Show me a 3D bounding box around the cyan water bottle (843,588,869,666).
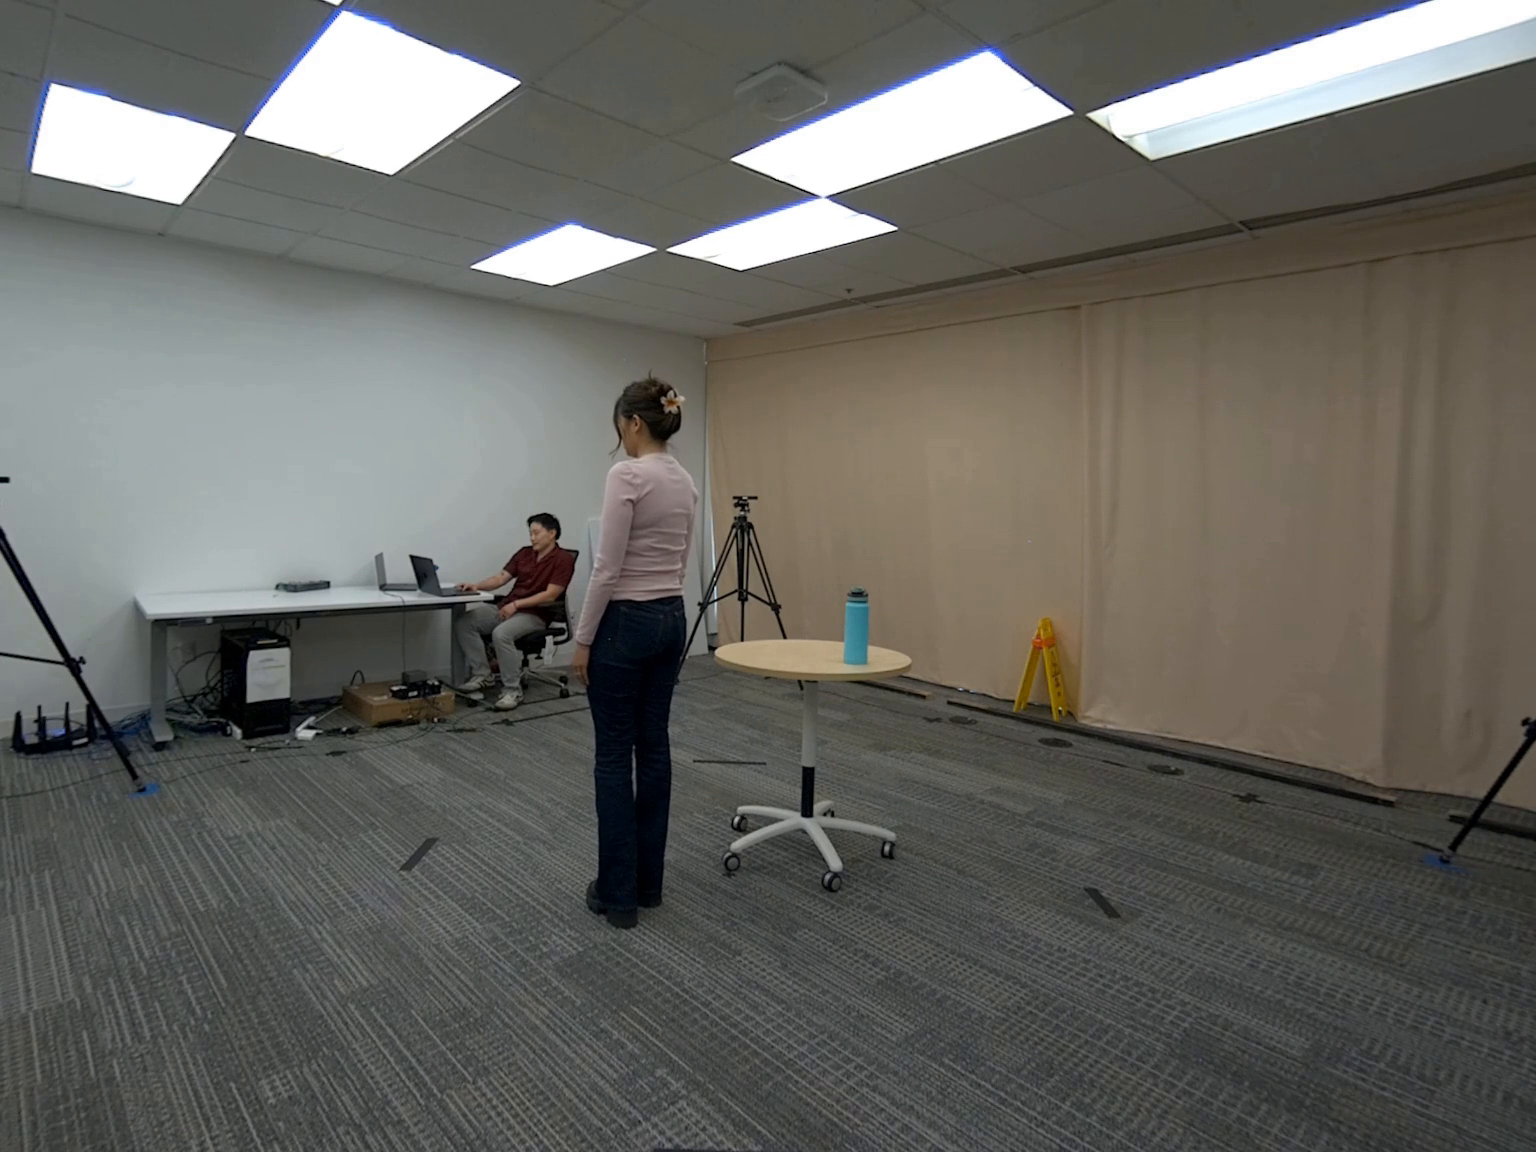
[{"bbox_3d":[0.329,0.186,3.151,0.092,0.283,0.092,2,2,-1],"label":"cyan water bottle"}]
